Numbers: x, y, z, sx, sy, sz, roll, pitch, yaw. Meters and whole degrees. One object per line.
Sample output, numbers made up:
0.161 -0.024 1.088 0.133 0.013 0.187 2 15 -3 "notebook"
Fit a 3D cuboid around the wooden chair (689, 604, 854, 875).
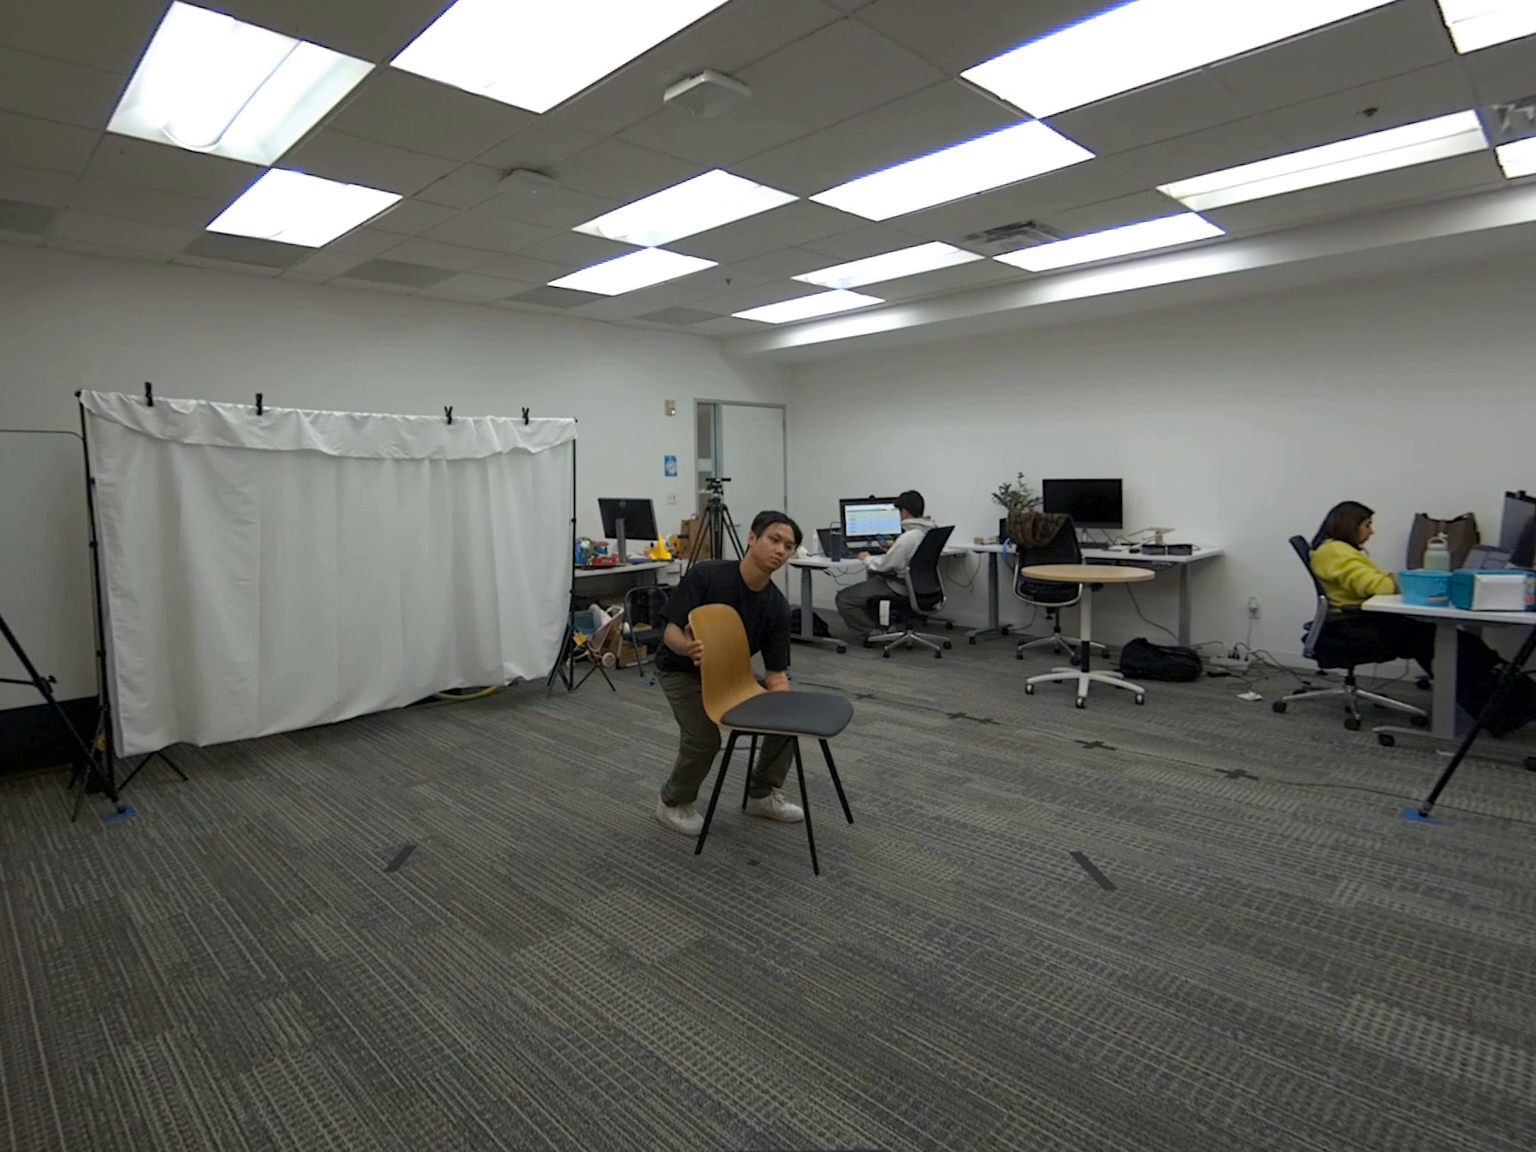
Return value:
0.029 0.538 3.079 0.533 0.876 0.470 -5 2 23 "wooden chair"
